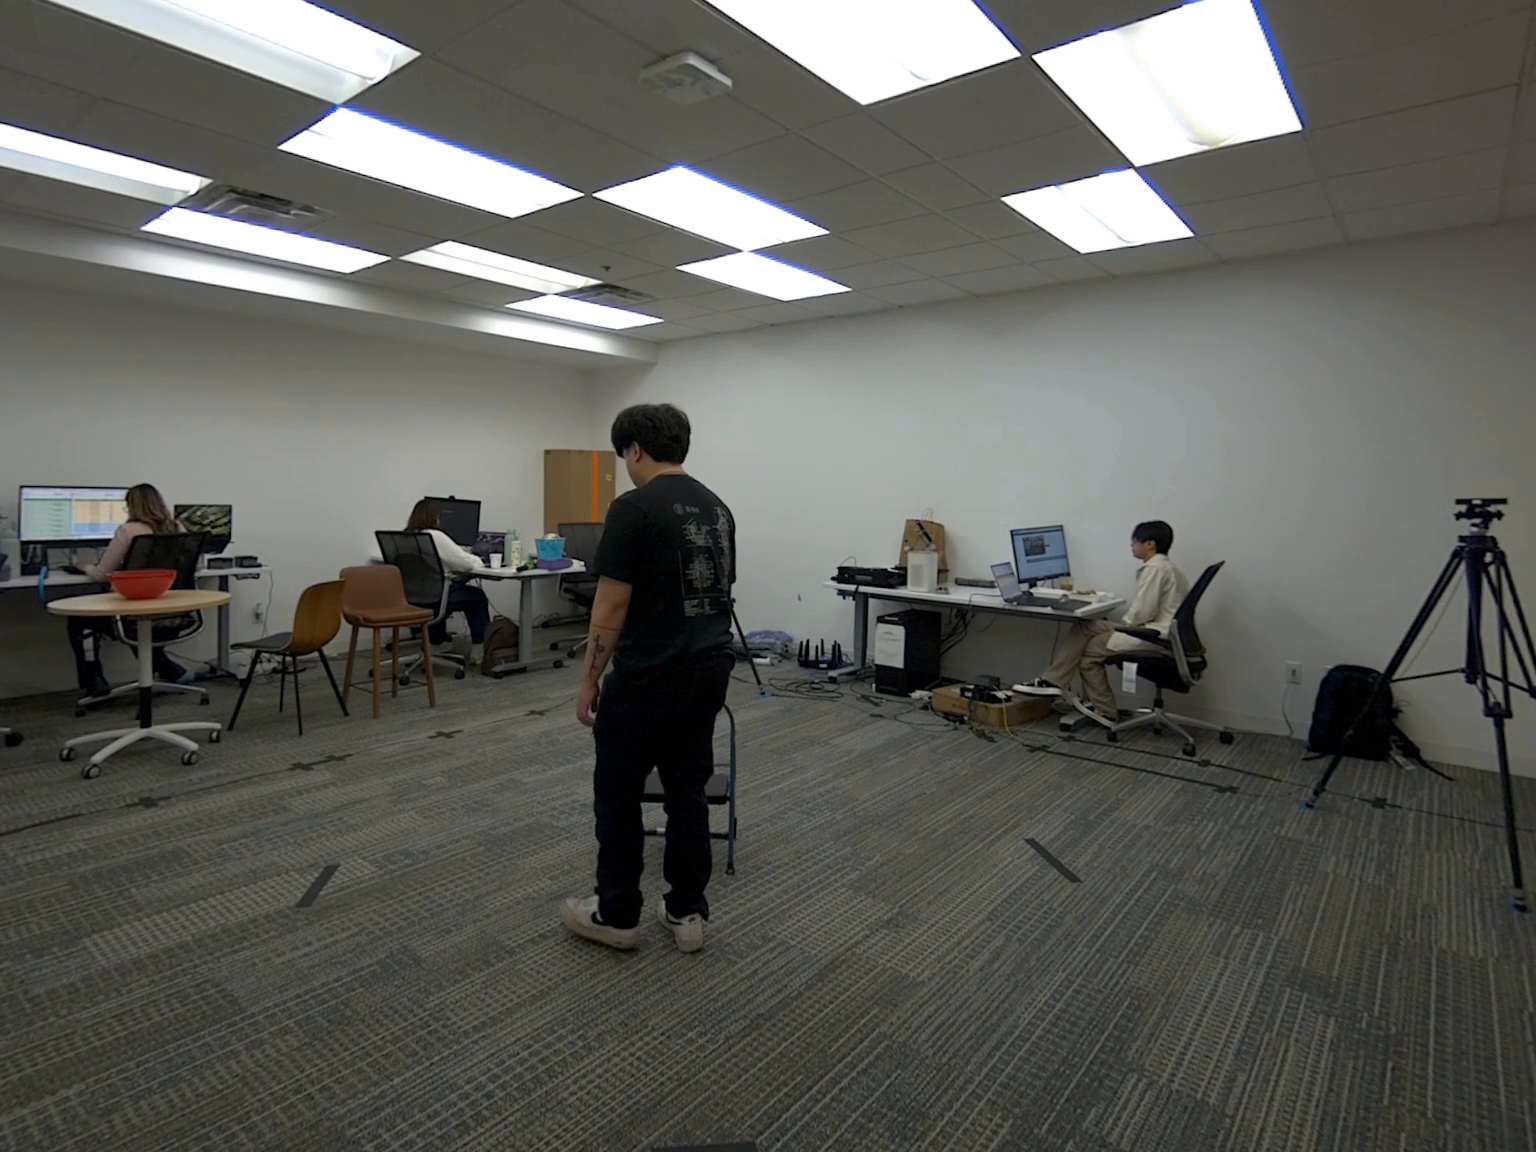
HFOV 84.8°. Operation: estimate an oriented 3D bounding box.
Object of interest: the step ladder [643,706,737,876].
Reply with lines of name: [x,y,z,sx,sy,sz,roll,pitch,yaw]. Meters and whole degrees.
step ladder: [-0.333,0.757,3.242,0.432,0.604,0.350,1,4,2]
